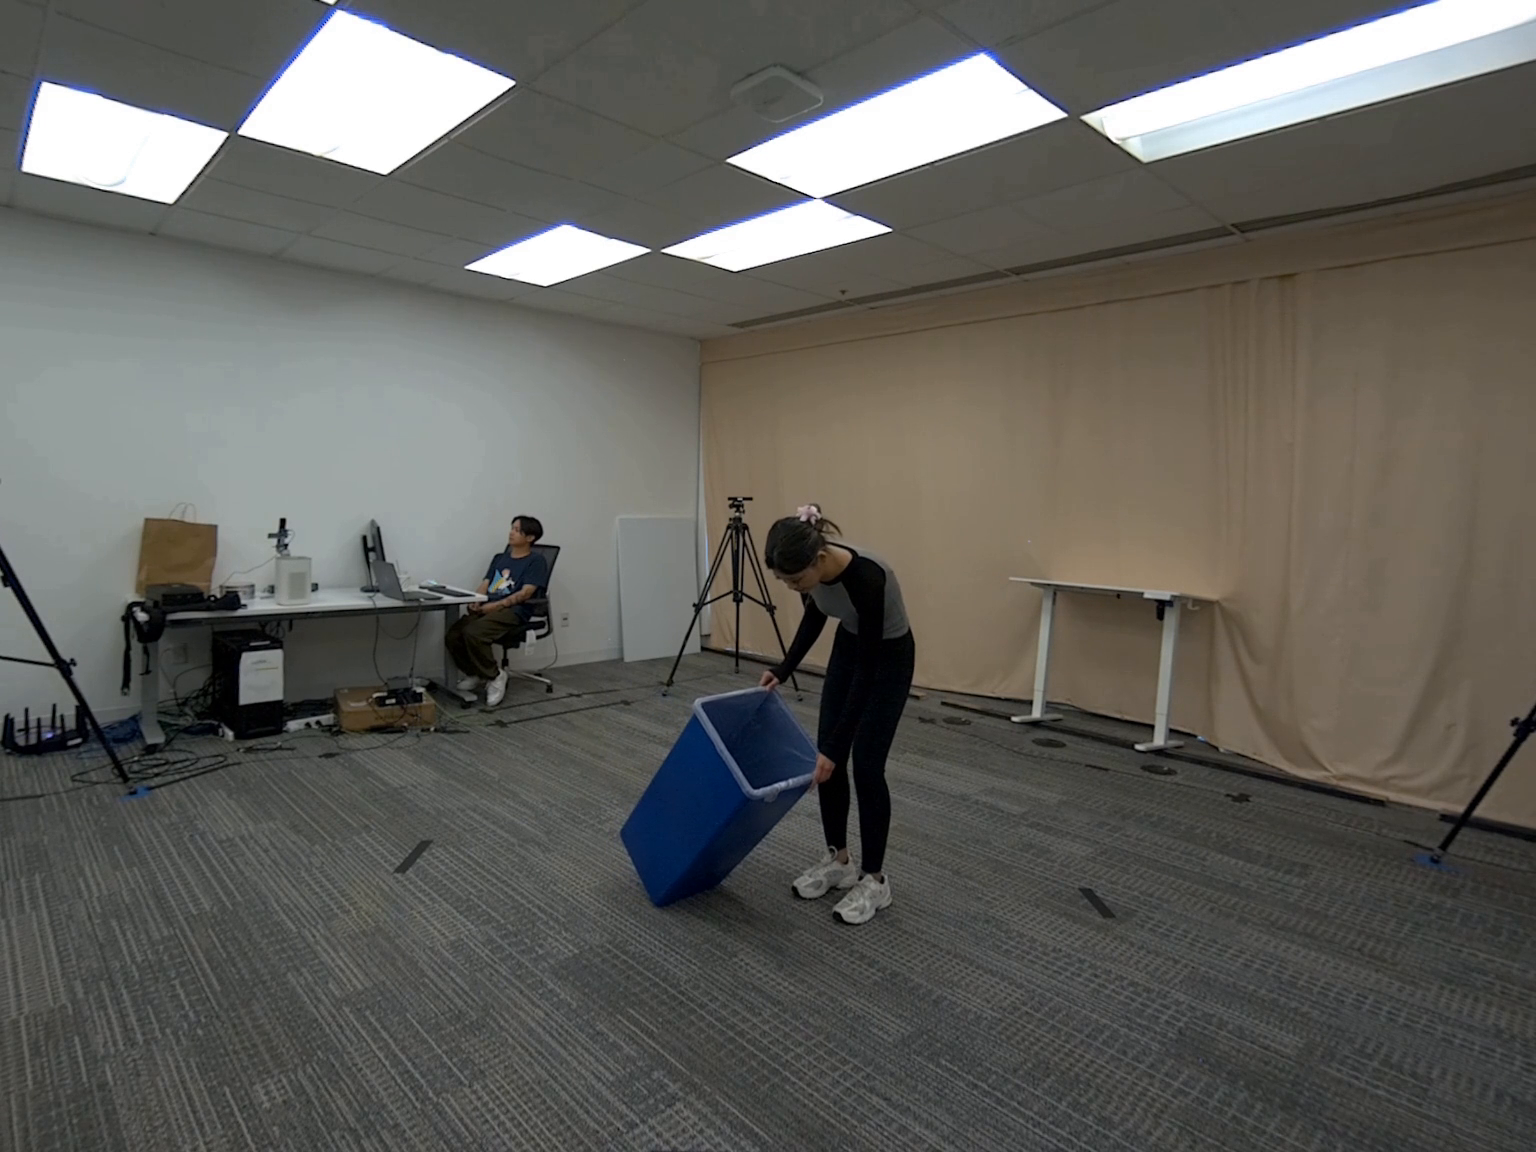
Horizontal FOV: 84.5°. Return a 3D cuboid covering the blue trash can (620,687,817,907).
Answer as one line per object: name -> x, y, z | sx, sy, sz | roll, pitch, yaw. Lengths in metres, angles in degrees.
blue trash can -> -0.186, 0.757, 2.840 | 0.369, 0.710, 0.385 | -1, 46, -44
